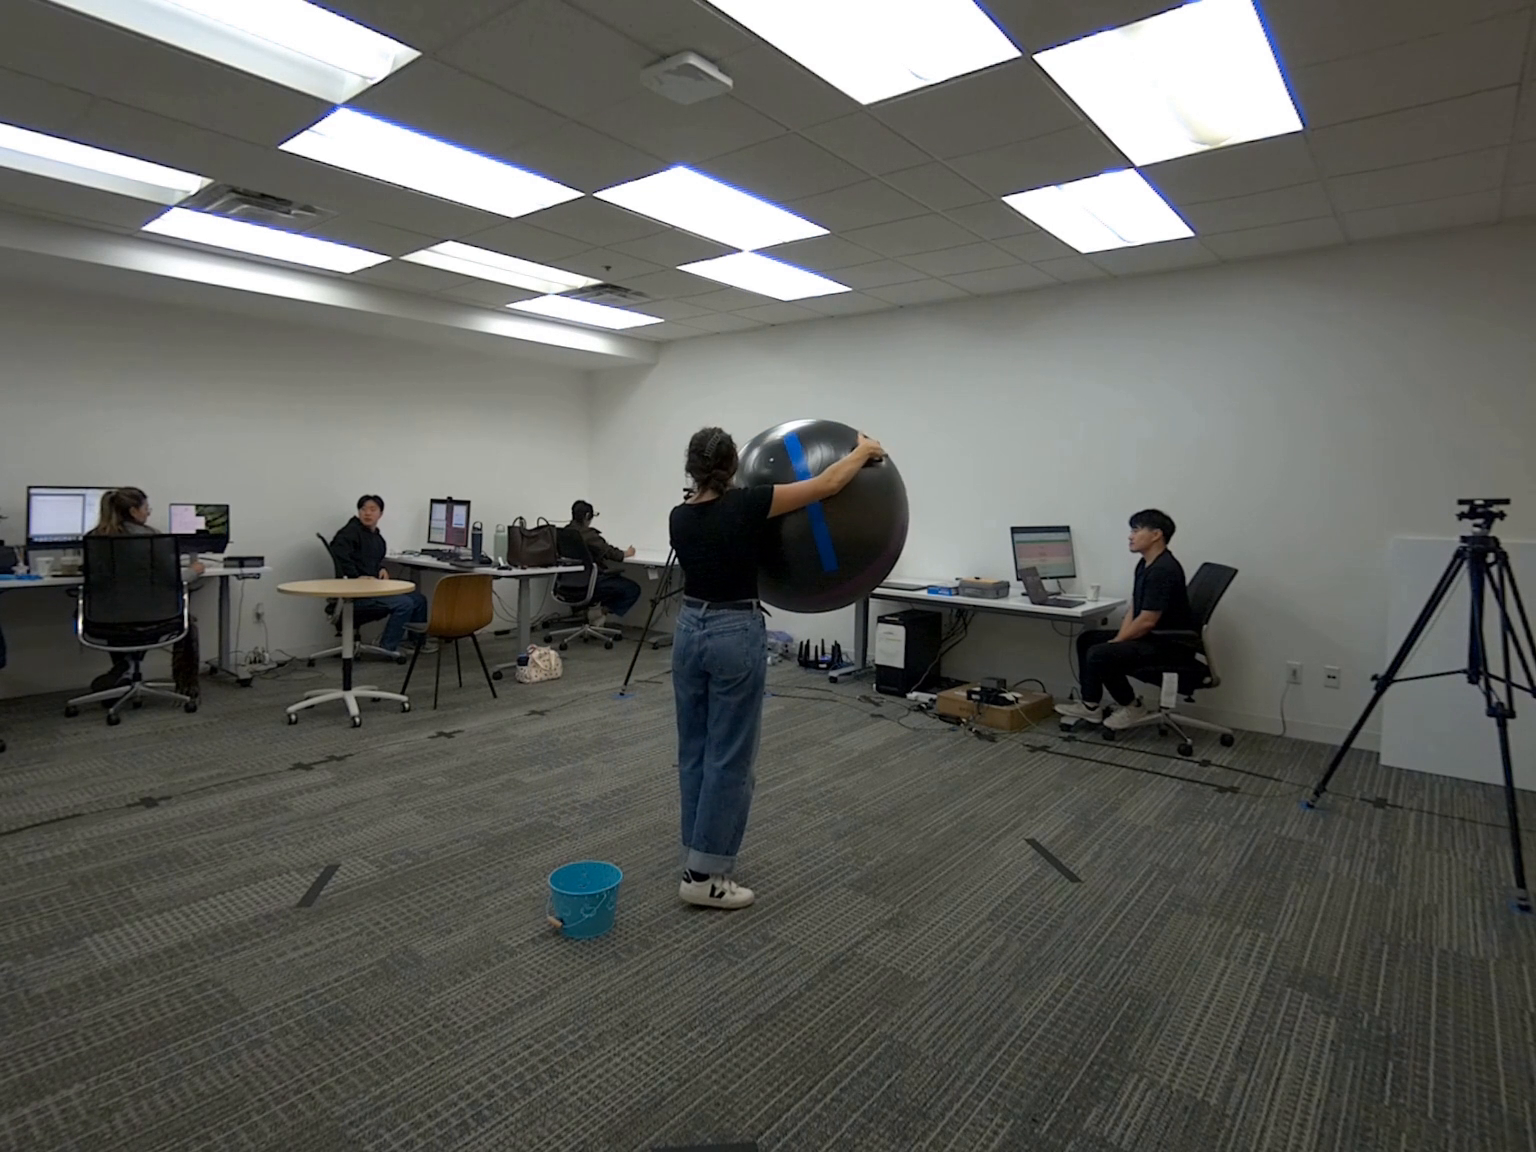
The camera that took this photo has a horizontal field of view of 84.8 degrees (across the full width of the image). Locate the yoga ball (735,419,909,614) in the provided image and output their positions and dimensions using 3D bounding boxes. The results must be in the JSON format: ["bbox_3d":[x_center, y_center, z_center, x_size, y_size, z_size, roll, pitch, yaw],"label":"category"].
[{"bbox_3d":[0.160,-0.232,3.331,0.757,0.755,0.762,1,4,-2],"label":"yoga ball"}]
